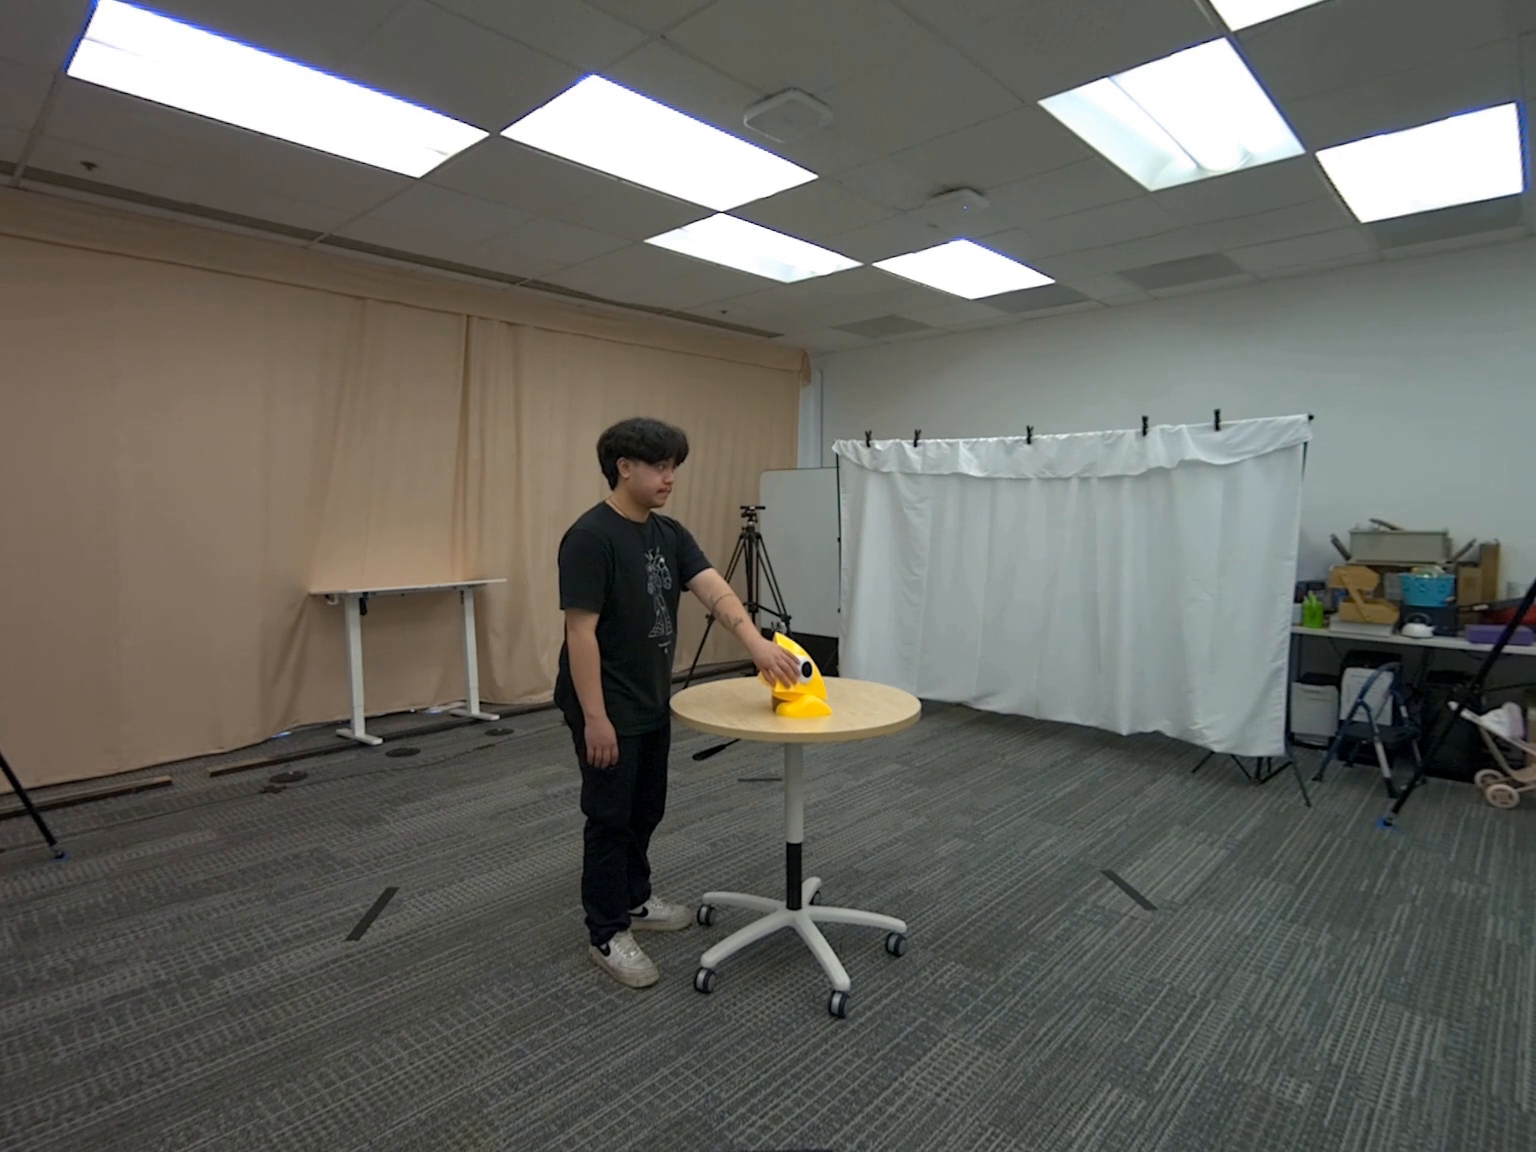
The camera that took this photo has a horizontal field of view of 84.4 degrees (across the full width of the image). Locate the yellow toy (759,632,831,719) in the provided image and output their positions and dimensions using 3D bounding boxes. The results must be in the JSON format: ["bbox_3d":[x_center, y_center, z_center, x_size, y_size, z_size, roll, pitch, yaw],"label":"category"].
[{"bbox_3d":[0.086,0.279,2.470,0.190,0.230,0.208,0,2,-13],"label":"yellow toy"}]
